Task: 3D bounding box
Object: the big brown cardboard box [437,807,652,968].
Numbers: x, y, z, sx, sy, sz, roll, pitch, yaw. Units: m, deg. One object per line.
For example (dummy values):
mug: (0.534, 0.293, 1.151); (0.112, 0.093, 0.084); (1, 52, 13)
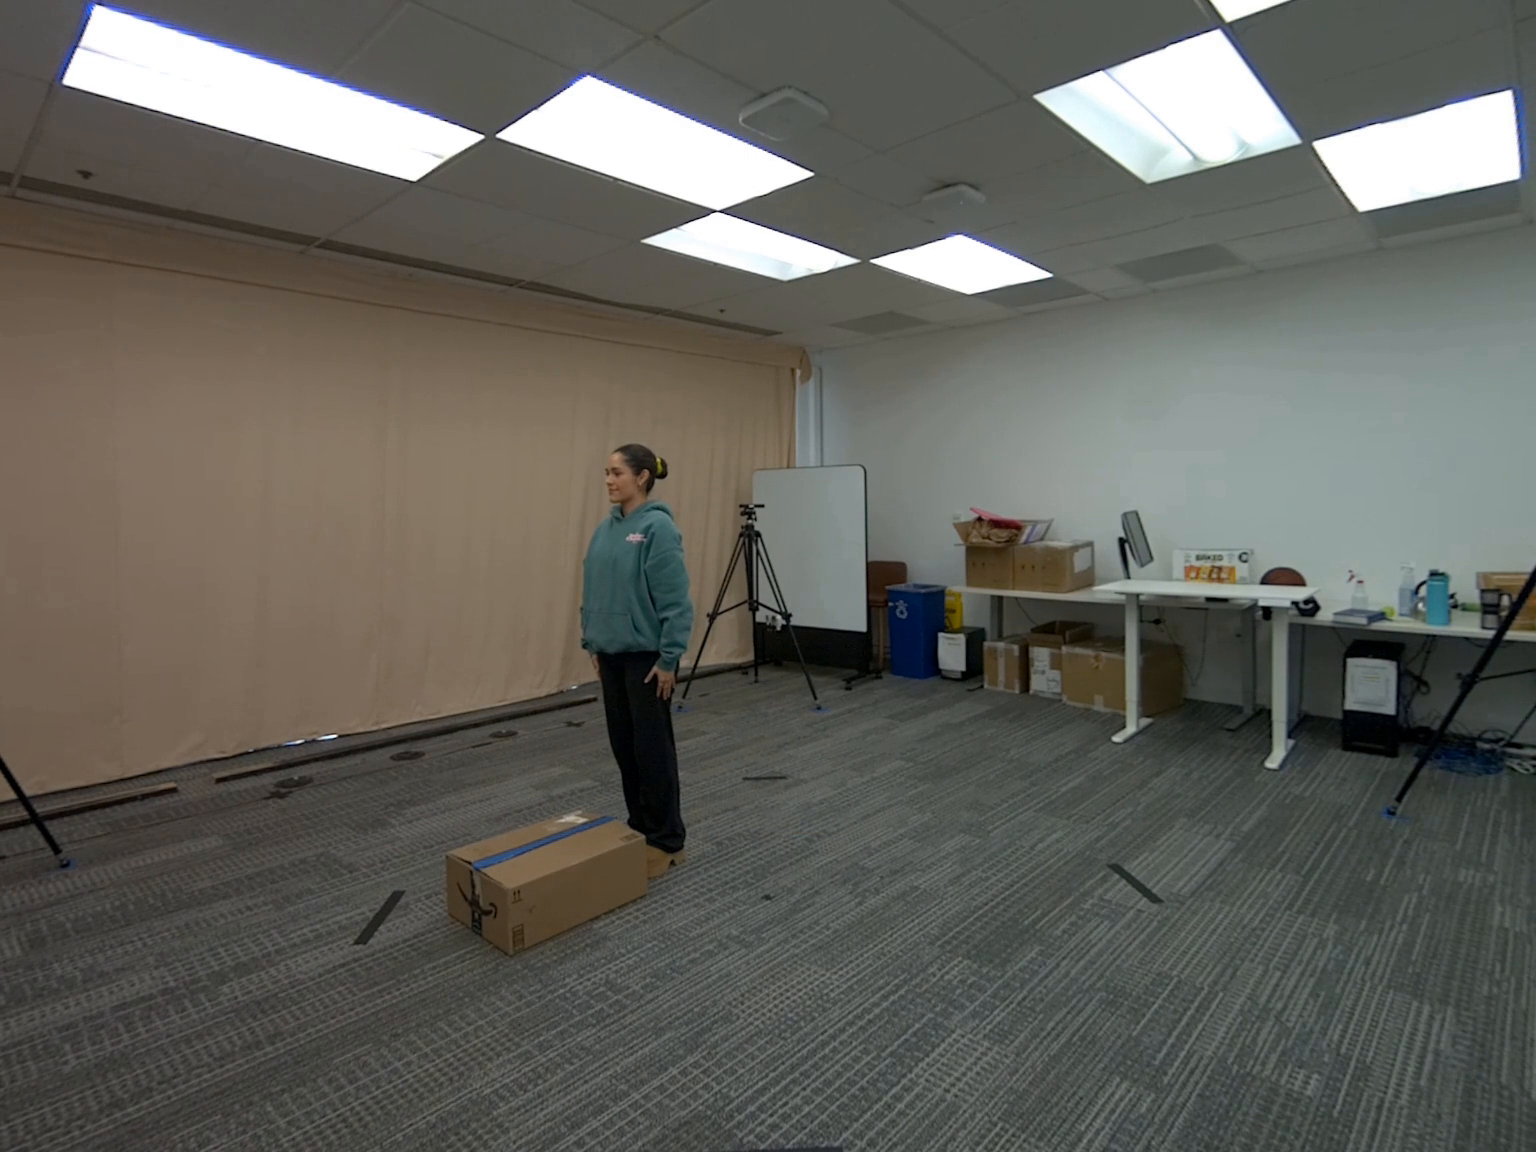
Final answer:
big brown cardboard box: (-0.776, 1.055, 2.962); (0.431, 0.232, 0.571); (2, 7, 43)
